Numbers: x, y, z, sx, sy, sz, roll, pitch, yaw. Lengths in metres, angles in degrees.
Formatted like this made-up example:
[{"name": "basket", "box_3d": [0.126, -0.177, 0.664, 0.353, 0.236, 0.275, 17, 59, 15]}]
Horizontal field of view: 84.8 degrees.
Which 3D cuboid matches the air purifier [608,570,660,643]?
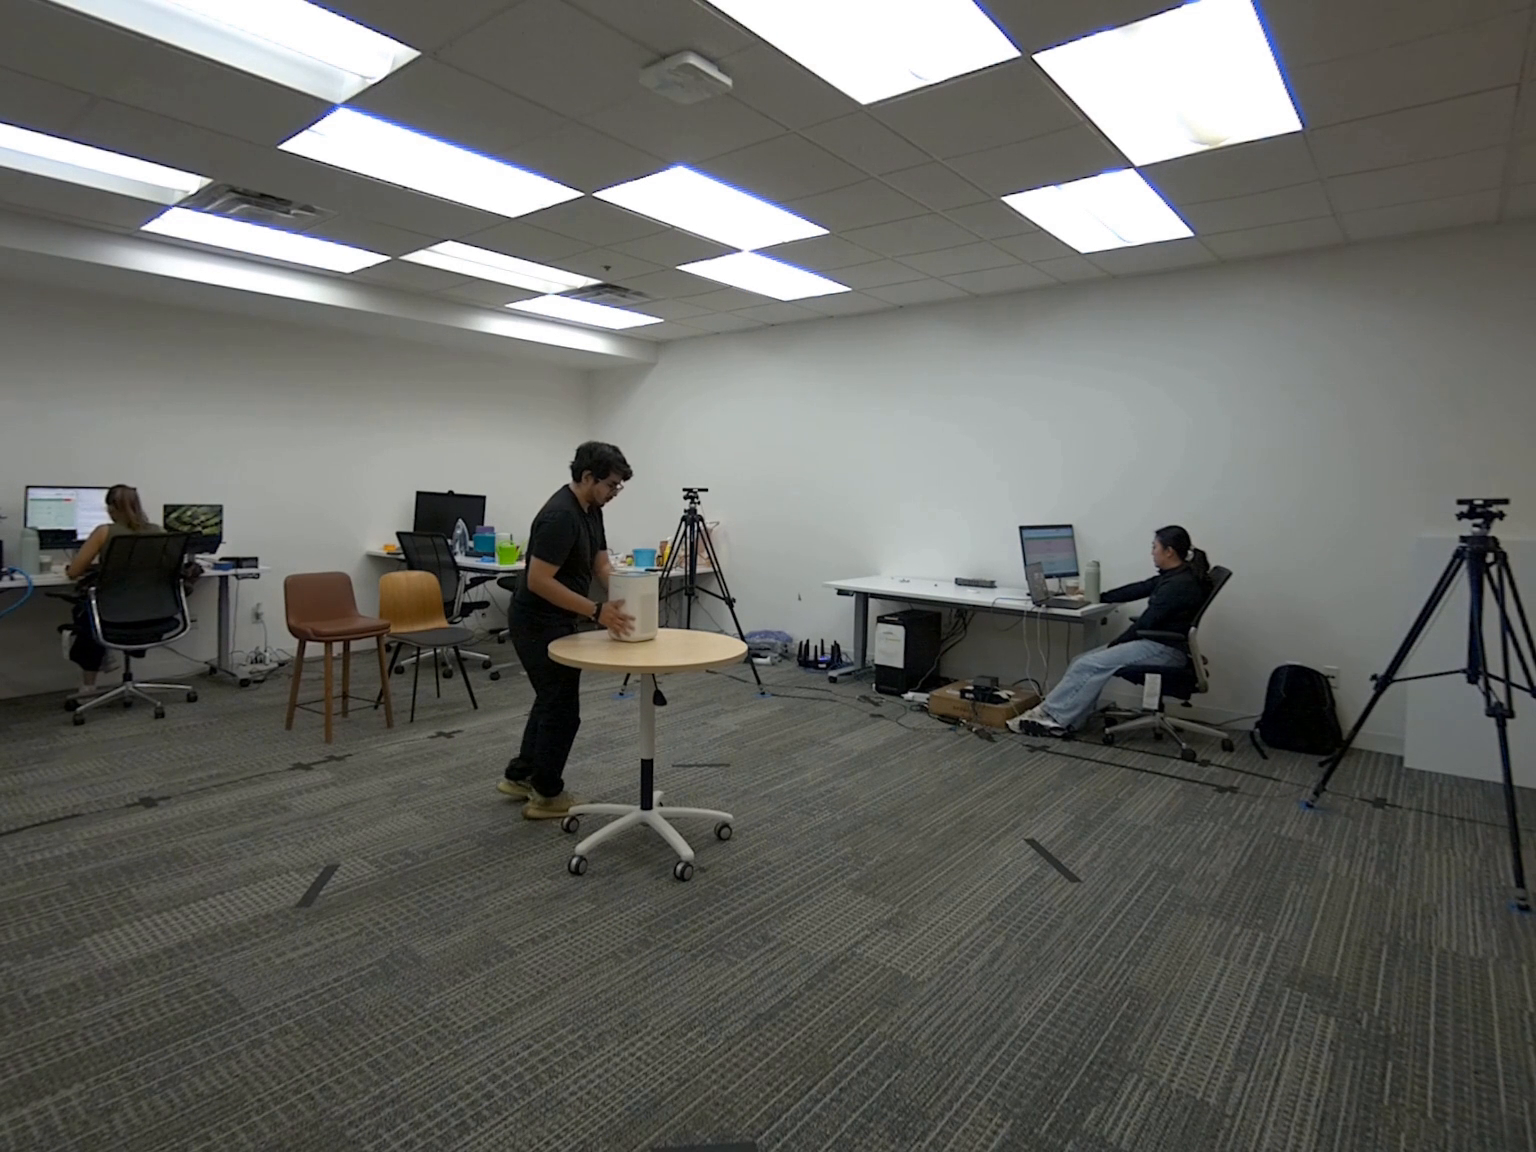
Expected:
[{"name": "air purifier", "box_3d": [-0.552, 0.121, 3.404, 0.176, 0.265, 0.167, 4, 3, 33]}]
